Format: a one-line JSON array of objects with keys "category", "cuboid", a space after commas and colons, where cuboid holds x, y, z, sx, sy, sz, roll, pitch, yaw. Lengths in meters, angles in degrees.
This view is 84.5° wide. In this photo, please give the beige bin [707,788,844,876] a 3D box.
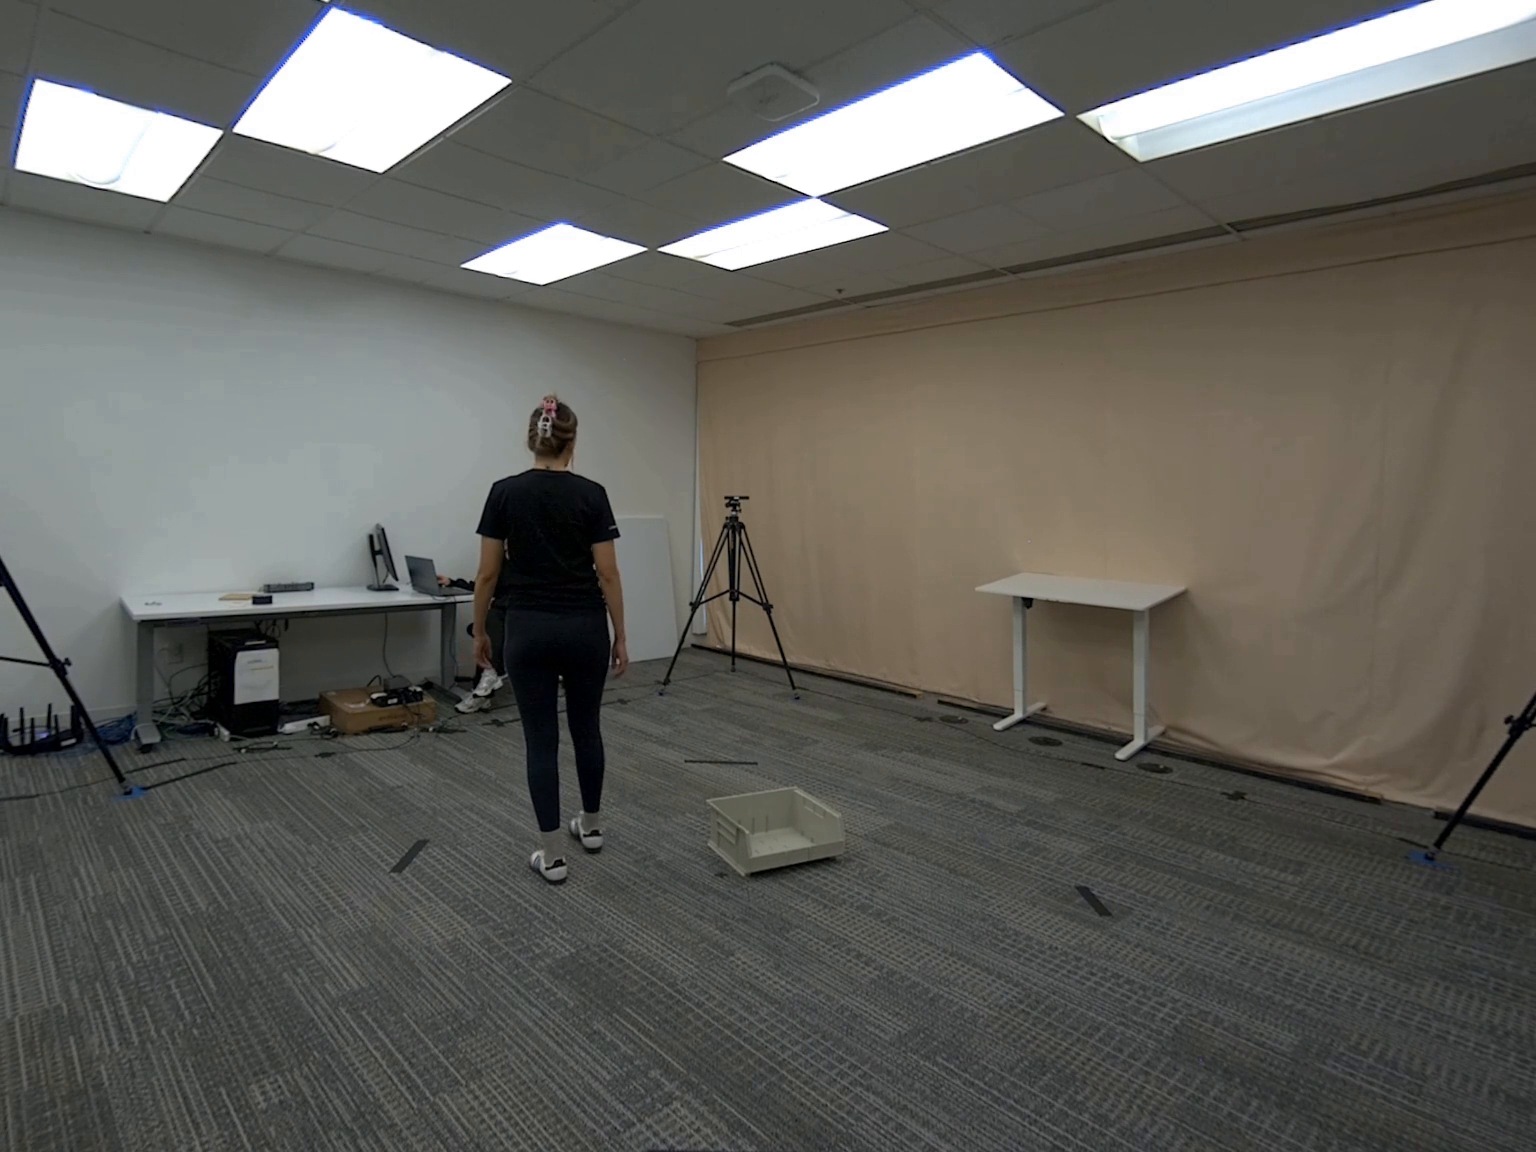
[{"category": "beige bin", "cuboid": [0.016, 0.999, 3.303, 0.414, 0.188, 0.385, -2, 4, -29]}]
